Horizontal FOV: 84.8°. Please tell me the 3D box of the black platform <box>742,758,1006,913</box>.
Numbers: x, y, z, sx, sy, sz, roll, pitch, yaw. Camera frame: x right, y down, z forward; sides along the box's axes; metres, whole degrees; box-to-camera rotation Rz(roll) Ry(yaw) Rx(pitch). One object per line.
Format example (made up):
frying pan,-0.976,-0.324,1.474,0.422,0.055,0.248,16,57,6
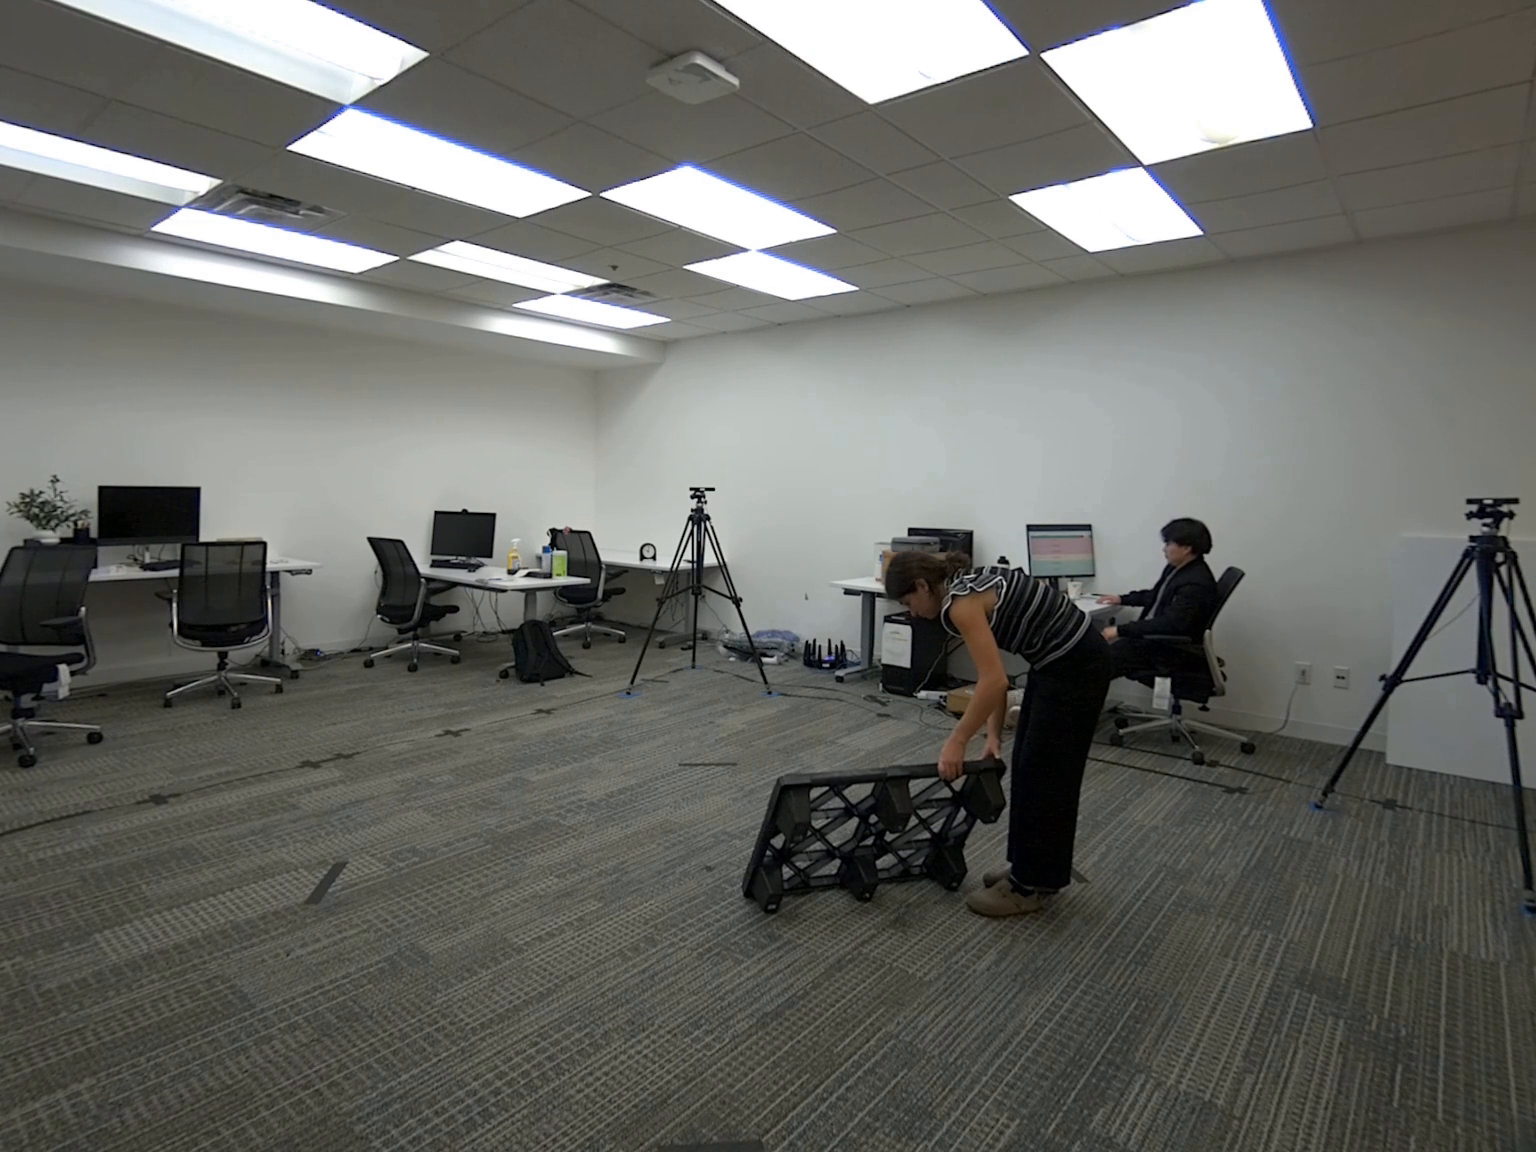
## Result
black platform,0.352,0.870,2.818,0.791,0.593,0.149,1,37,-17
